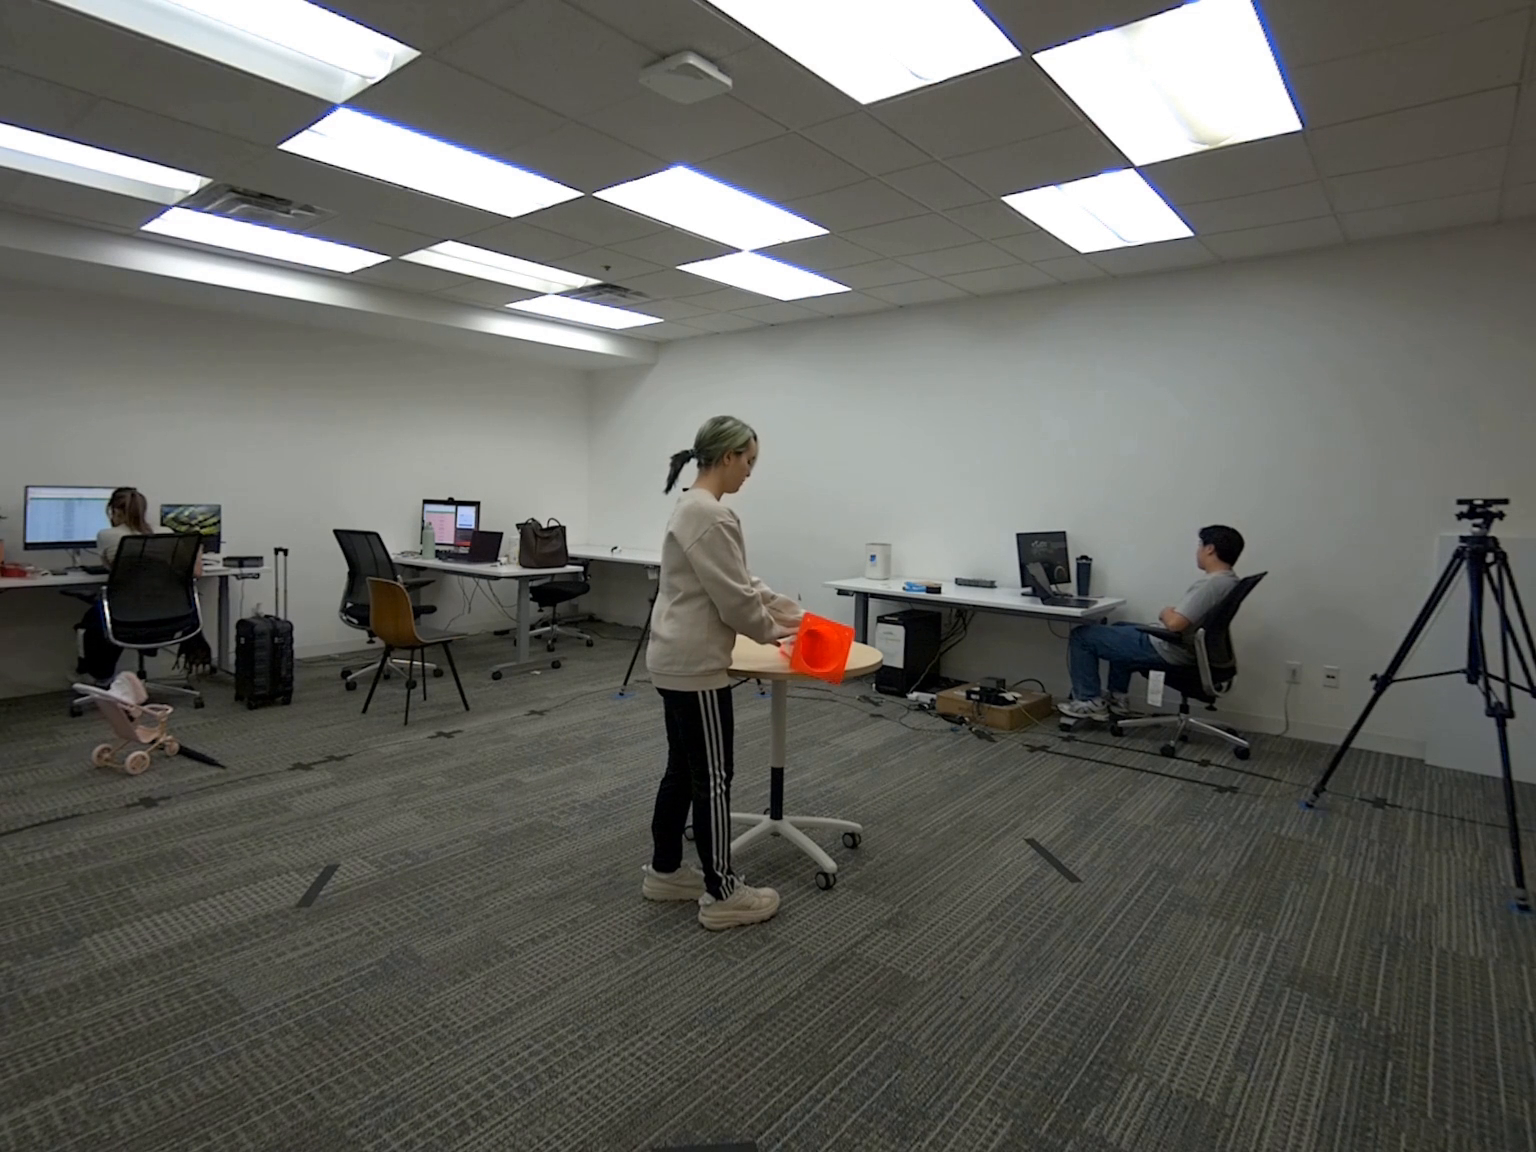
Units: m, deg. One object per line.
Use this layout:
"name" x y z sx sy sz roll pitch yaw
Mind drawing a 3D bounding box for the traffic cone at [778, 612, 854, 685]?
"traffic cone" 0.109 0.256 3.040 0.199 0.206 0.389 18 -11 -17
